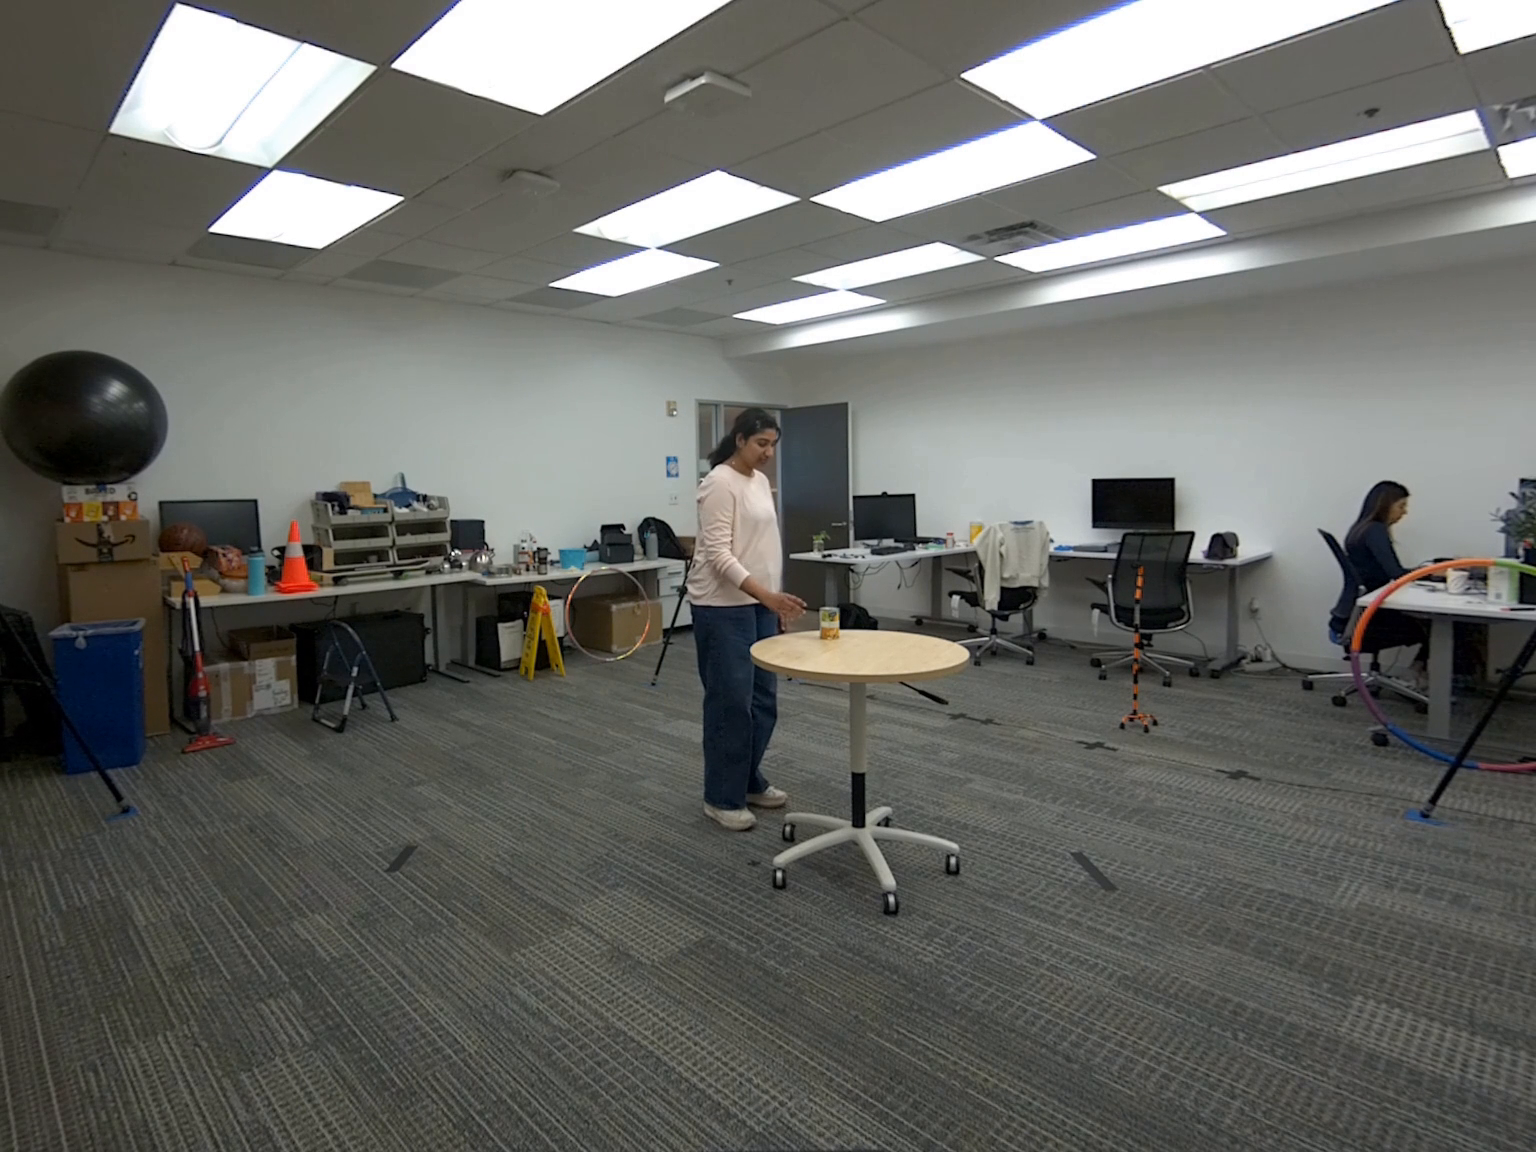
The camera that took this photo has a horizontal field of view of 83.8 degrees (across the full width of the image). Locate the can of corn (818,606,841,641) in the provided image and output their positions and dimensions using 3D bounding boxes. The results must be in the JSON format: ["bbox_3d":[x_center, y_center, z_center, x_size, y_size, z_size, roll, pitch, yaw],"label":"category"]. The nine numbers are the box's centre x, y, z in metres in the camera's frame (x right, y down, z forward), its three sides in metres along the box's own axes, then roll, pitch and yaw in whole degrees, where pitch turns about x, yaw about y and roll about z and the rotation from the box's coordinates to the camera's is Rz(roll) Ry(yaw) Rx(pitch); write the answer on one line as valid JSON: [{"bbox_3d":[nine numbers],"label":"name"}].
[{"bbox_3d":[0.238,0.180,3.252,0.074,0.111,0.074,0,3,-2],"label":"can of corn"}]
